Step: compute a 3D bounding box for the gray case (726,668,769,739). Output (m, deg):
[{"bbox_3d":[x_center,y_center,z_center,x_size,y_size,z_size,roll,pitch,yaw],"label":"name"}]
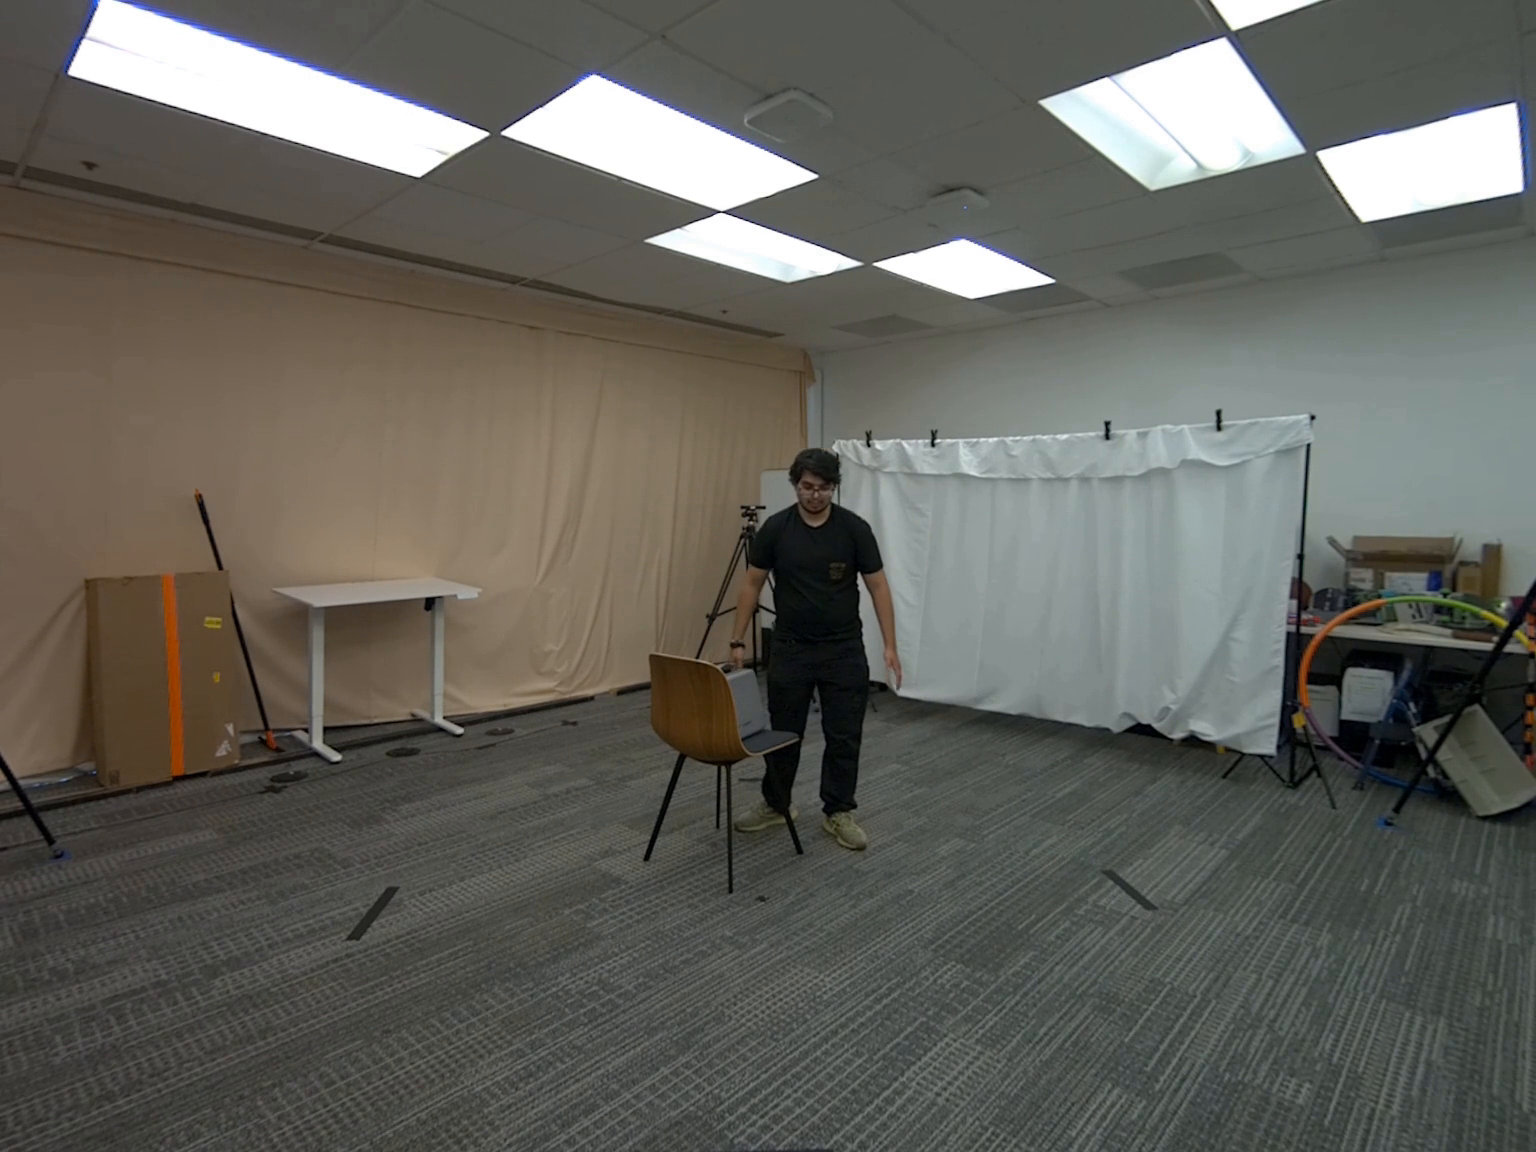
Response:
[{"bbox_3d":[-0.135,0.513,3.351,0.107,0.261,0.250,-15,-3,40],"label":"gray case"}]
